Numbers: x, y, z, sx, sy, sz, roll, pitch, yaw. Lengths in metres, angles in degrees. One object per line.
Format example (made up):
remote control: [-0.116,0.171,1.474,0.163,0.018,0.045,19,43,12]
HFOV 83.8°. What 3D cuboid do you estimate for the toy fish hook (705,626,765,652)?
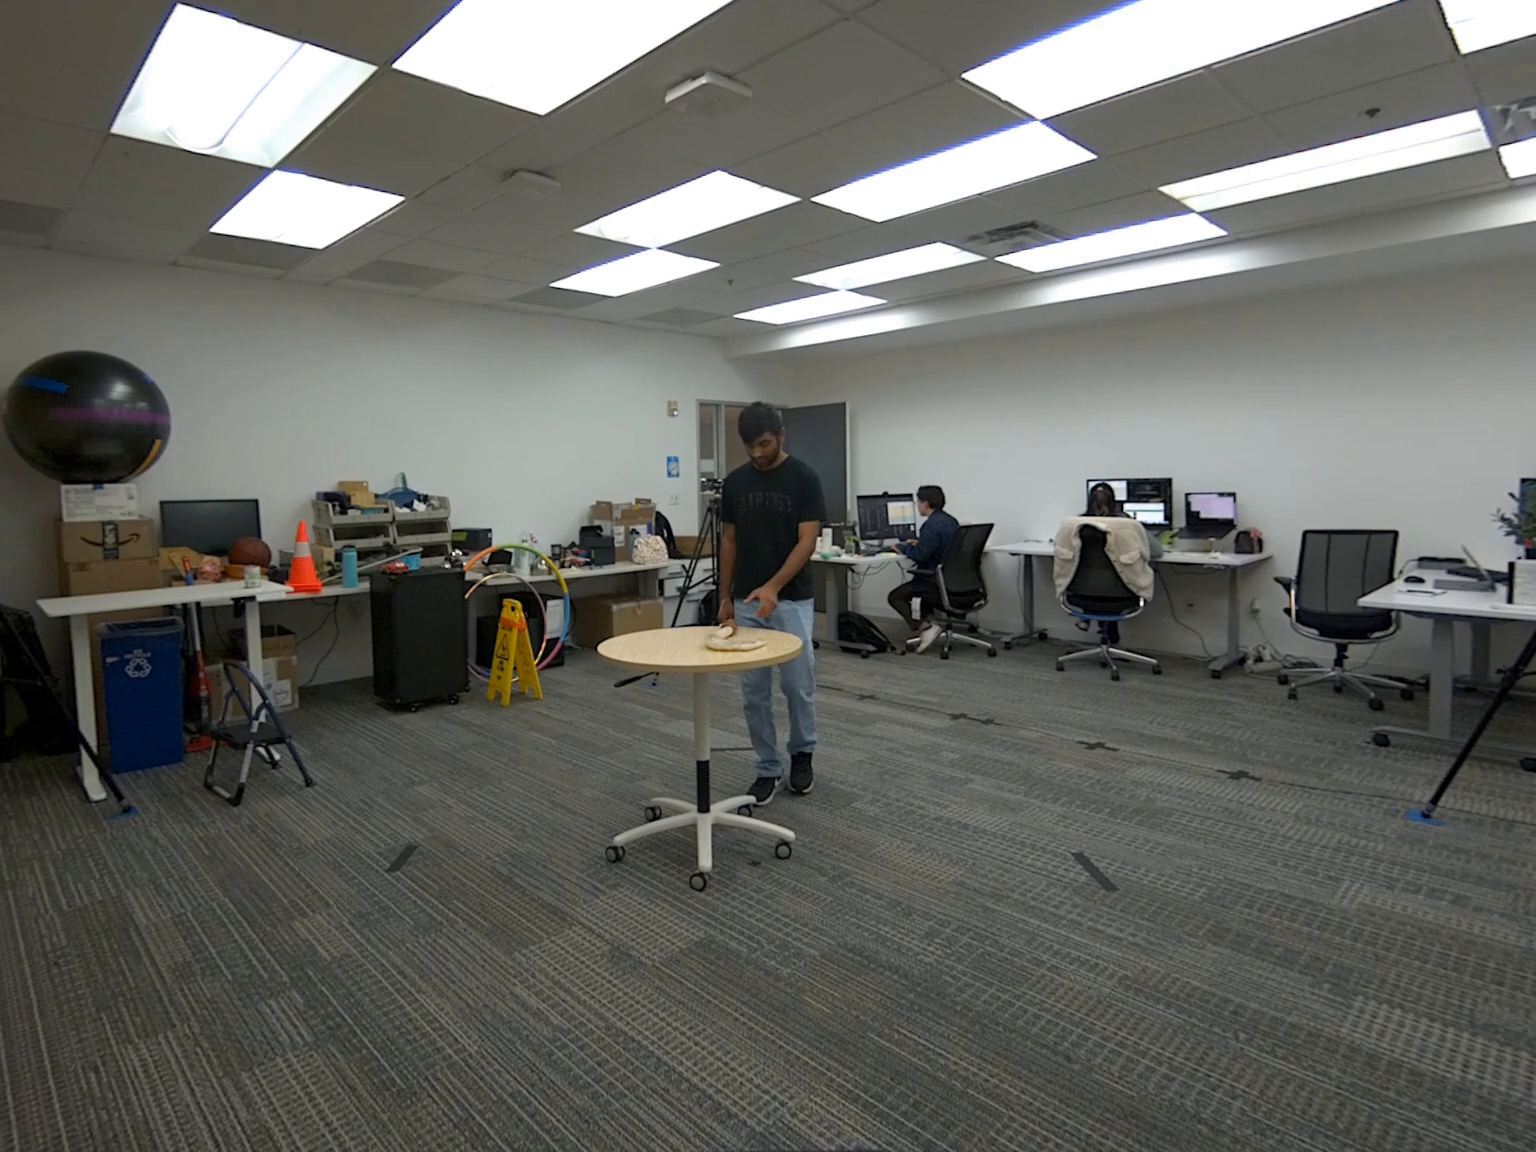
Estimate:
toy fish hook: [-0.111,0.234,3.280,0.226,0.048,0.506,7,7,4]
